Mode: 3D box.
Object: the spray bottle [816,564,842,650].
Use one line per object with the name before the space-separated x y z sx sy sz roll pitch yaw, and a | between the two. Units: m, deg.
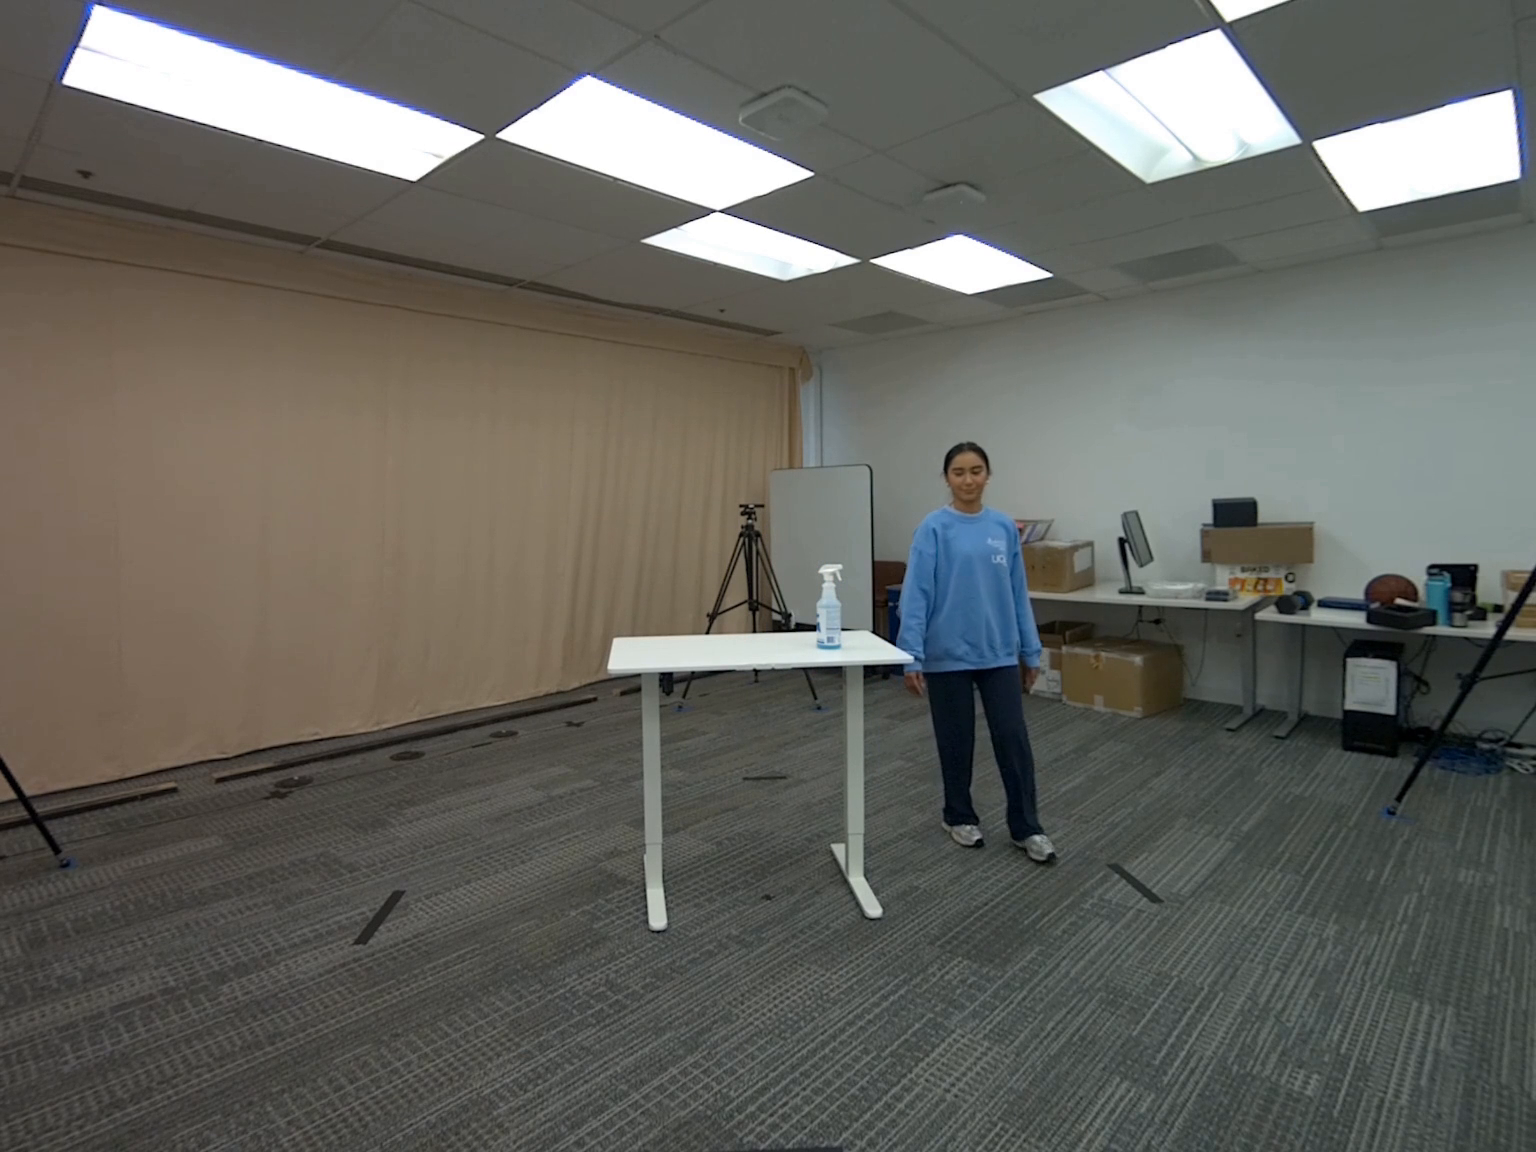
spray bottle | 0.227 0.110 2.978 0.085 0.296 0.093 0 5 -29
